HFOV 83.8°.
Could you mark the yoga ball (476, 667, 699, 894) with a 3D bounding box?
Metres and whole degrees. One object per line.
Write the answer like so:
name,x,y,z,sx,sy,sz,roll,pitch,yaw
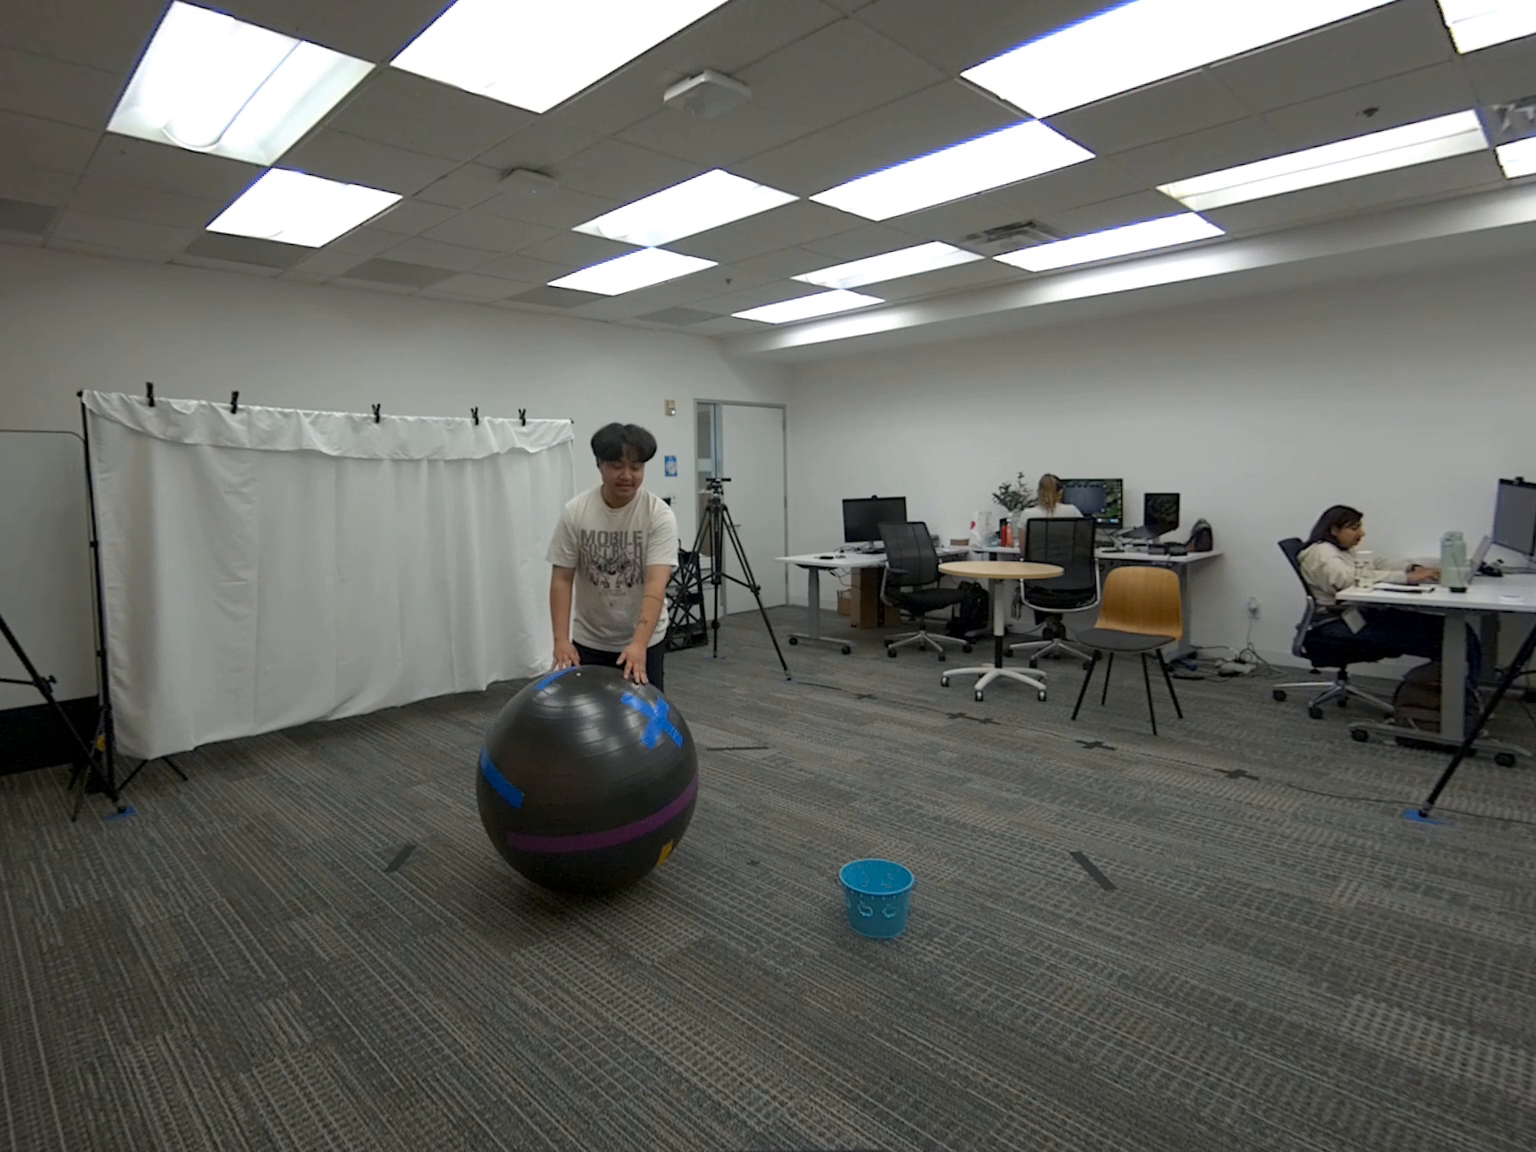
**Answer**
yoga ball,-0.624,0.703,2.945,0.757,0.755,0.762,-1,5,-2
